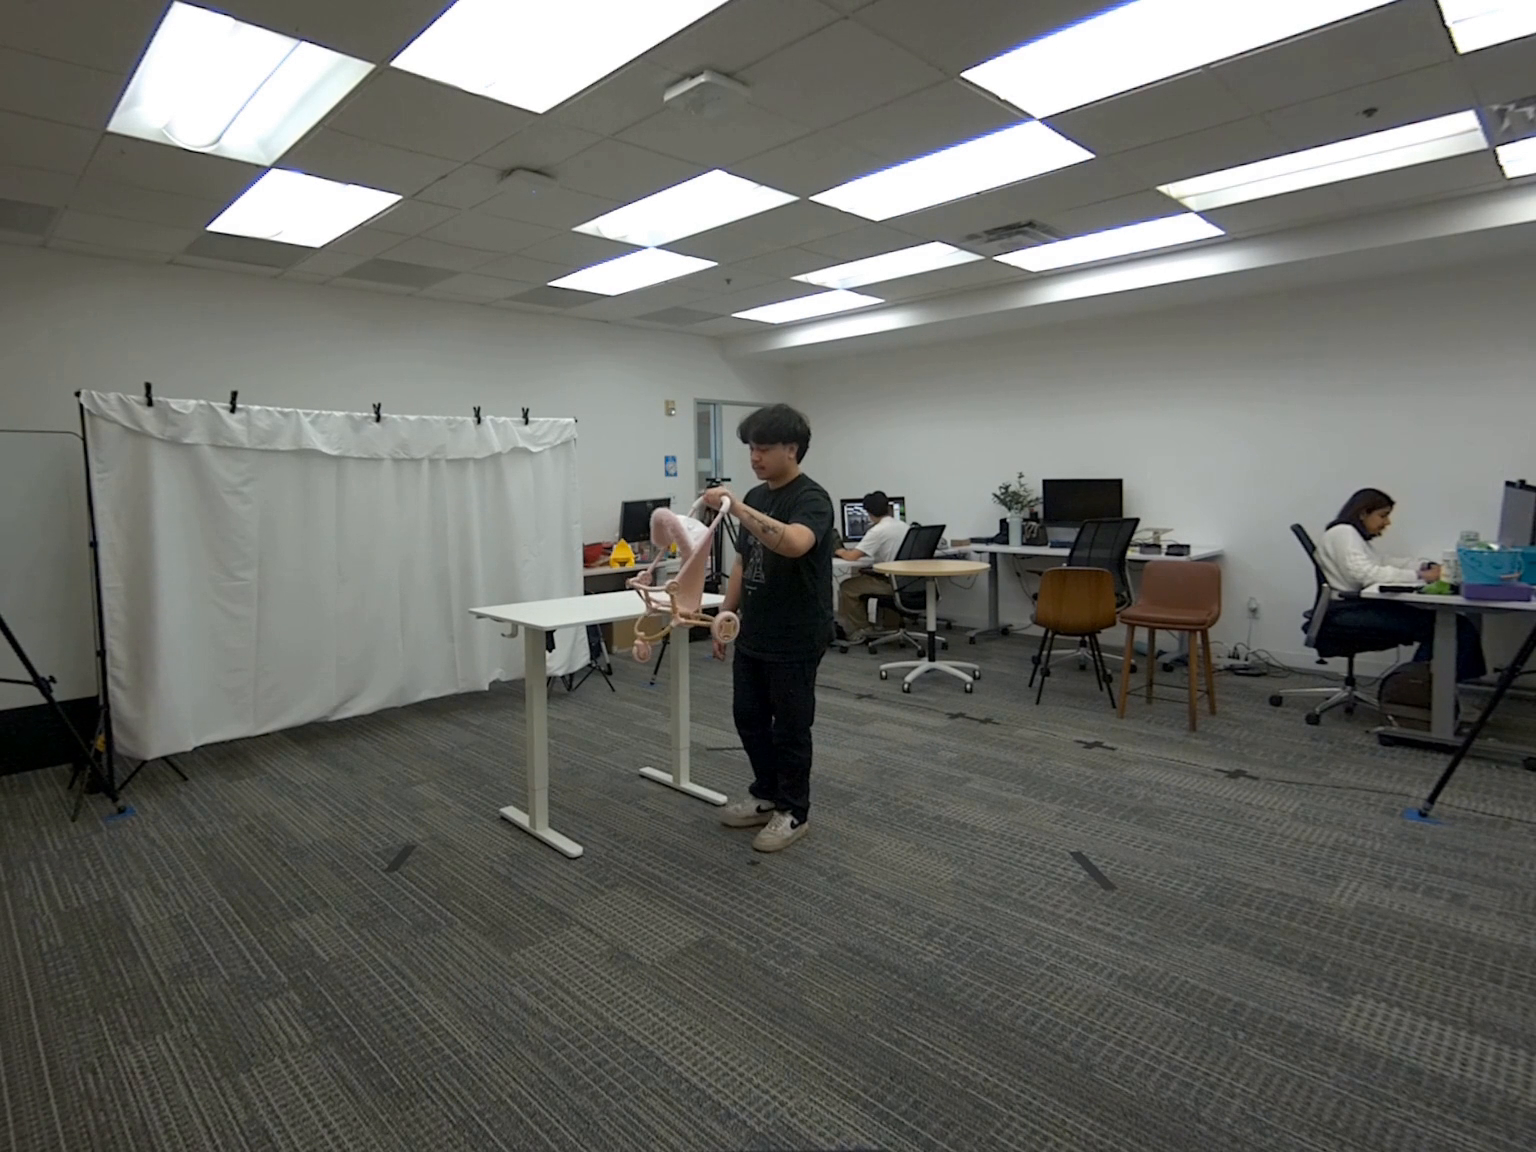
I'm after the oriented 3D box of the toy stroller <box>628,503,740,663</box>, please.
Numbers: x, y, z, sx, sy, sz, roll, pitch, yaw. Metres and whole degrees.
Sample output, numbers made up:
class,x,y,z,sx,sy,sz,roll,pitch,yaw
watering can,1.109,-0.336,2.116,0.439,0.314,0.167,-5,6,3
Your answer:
class,x,y,z,sx,sy,sz,roll,pitch,yaw
toy stroller,-0.300,0.008,2.832,0.334,0.530,0.290,-6,11,-28
